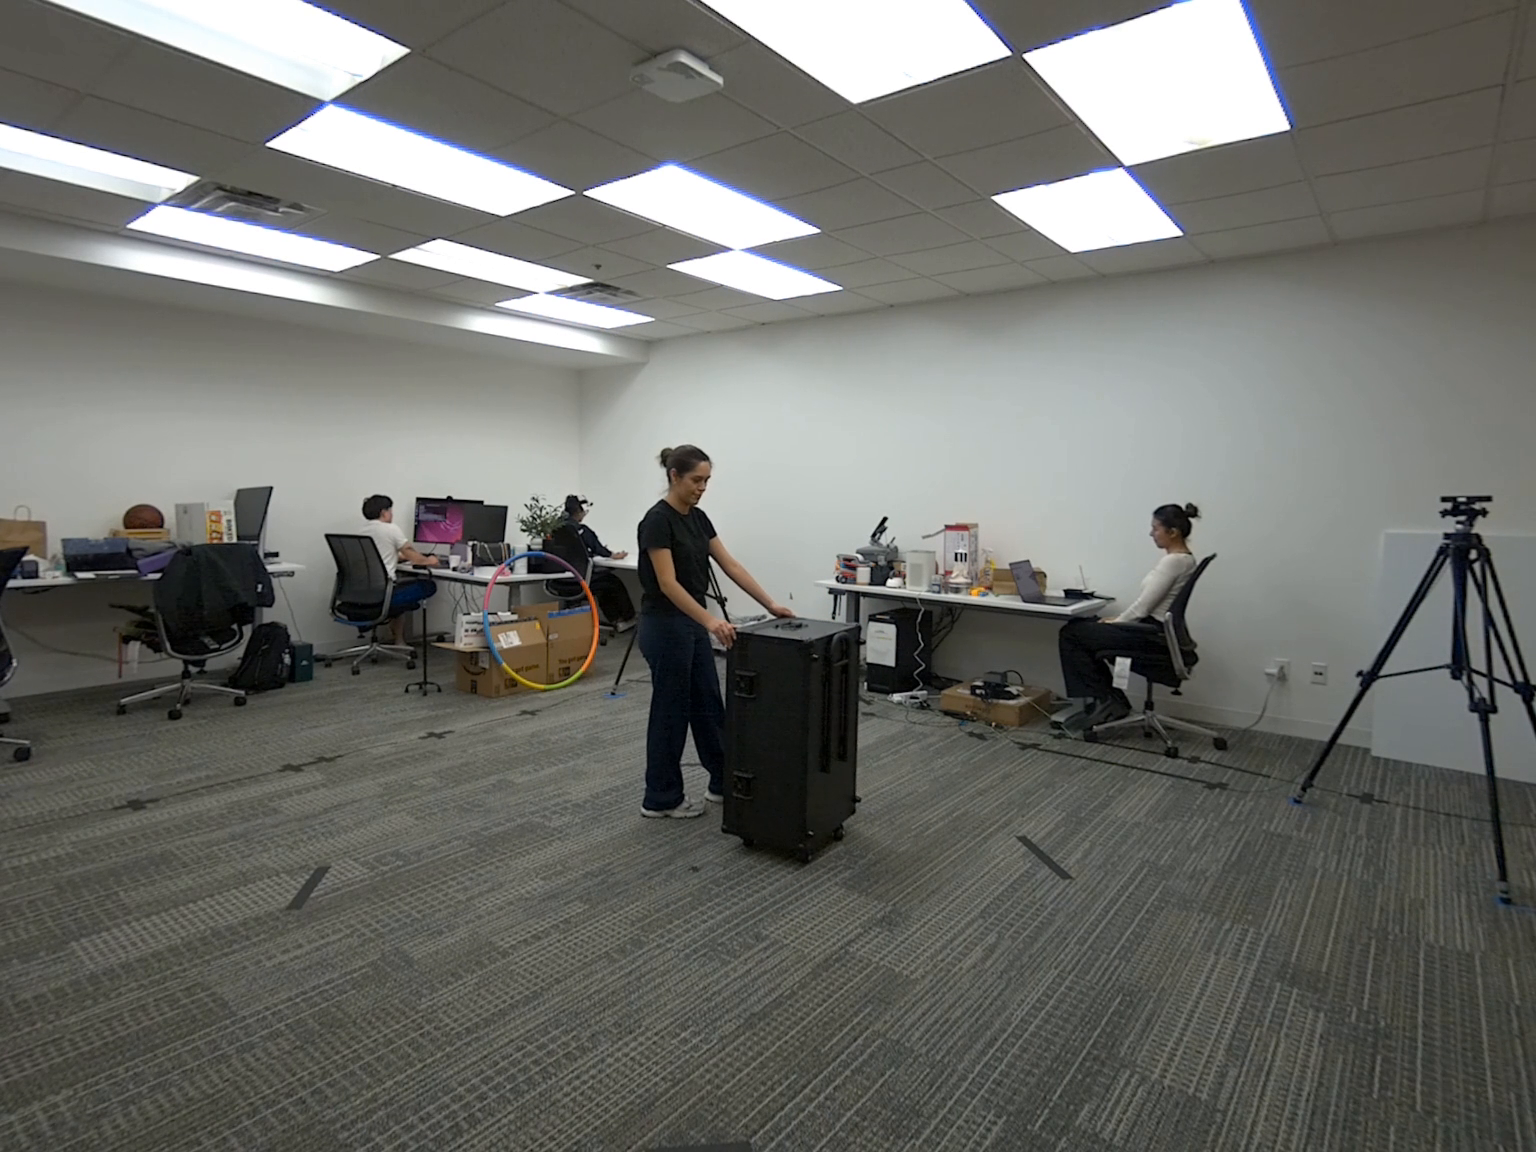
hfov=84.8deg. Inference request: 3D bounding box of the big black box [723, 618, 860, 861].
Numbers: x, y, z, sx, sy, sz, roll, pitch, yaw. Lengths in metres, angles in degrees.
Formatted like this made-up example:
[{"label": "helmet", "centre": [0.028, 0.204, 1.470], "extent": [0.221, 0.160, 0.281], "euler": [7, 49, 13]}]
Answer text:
[{"label": "big black box", "centre": [0.135, 0.623, 3.365], "extent": [0.408, 0.859, 0.507], "euler": [4, 4, 31]}]
